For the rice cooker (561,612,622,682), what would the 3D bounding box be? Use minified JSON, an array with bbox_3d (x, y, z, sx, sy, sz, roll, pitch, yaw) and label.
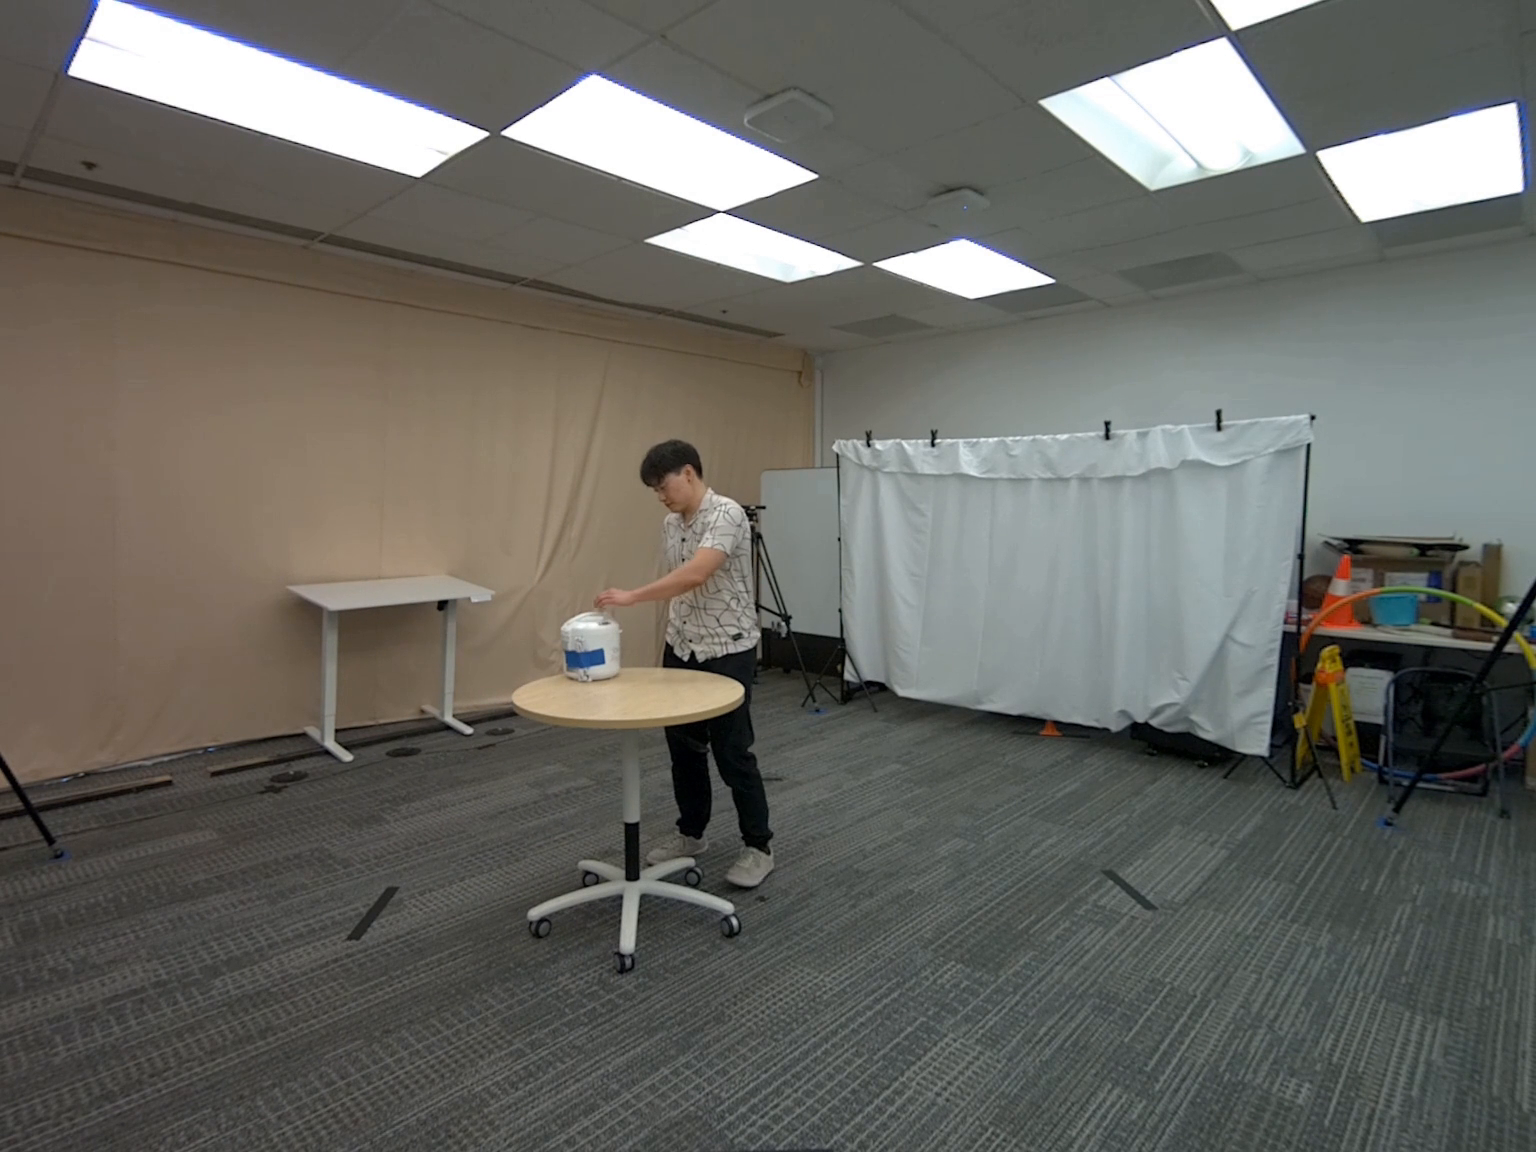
[{"bbox_3d":[-0.640,0.247,3.021,0.214,0.232,0.224,-2,5,-38],"label":"rice cooker"}]
